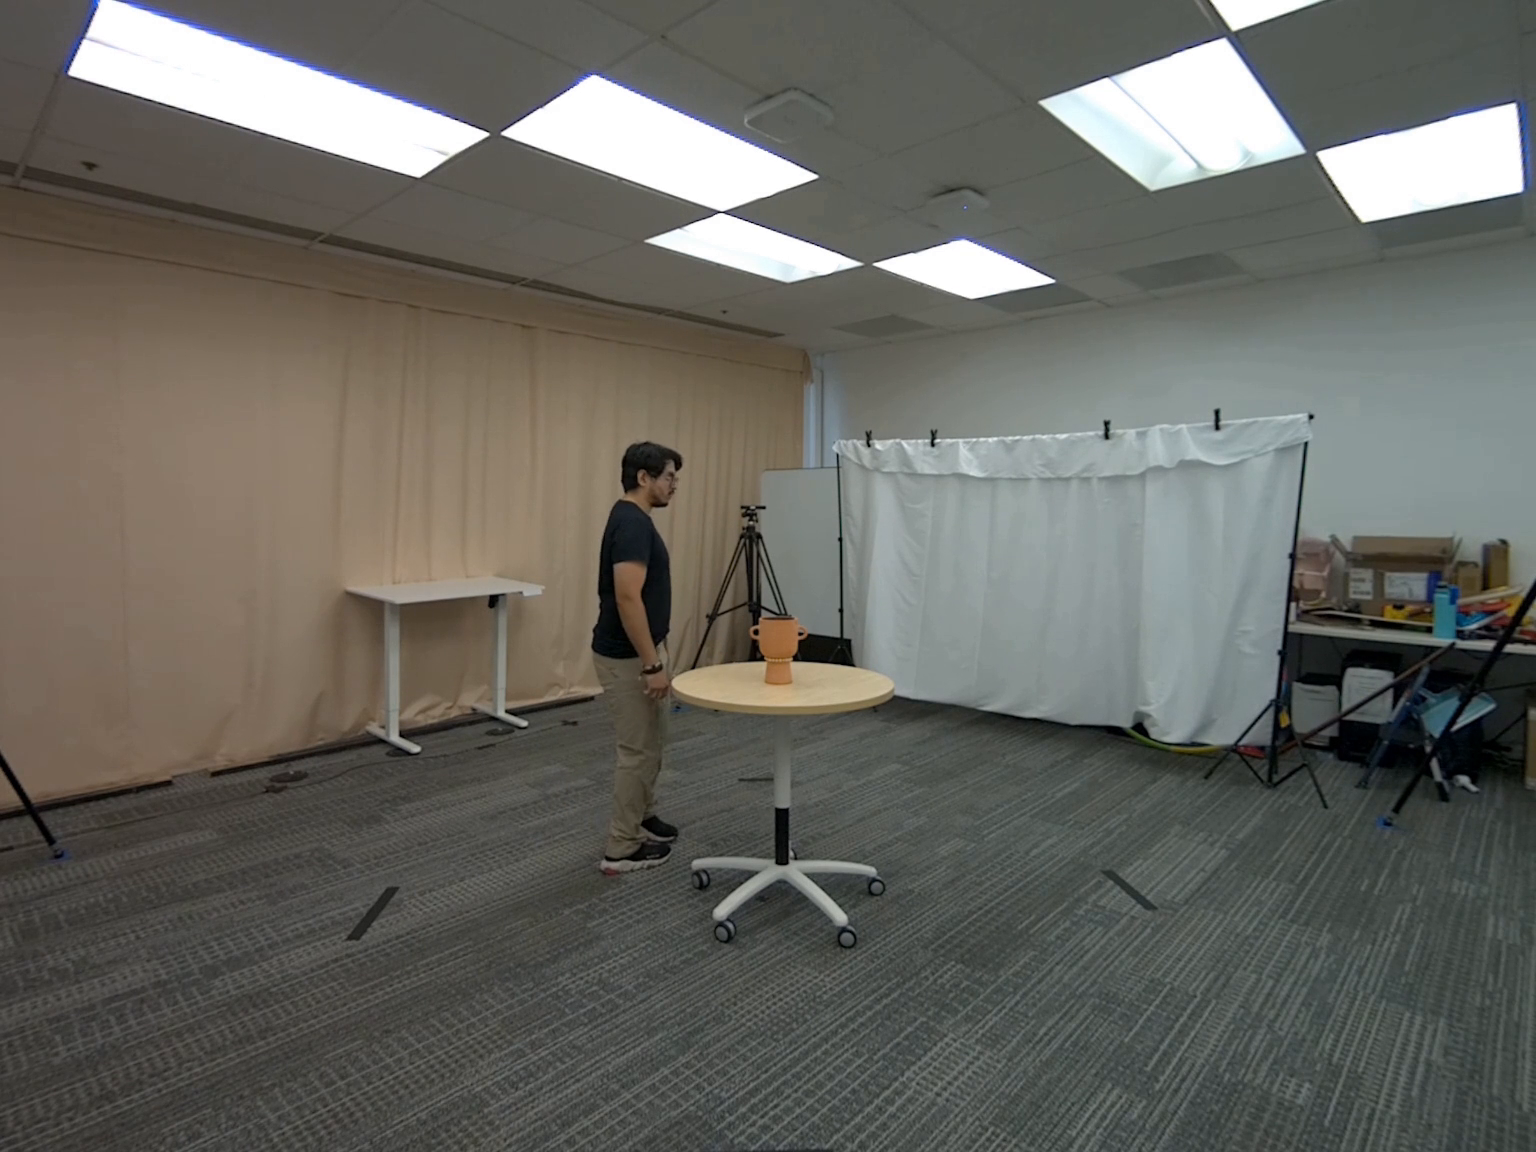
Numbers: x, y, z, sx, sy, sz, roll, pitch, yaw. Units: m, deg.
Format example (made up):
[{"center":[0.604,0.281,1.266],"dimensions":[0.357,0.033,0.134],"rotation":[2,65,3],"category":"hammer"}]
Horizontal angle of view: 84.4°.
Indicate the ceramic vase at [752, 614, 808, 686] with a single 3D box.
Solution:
[{"center":[0.043,0.257,2.903],"dimensions":[0.164,0.219,0.130],"rotation":[2,3,38],"category":"ceramic vase"}]
